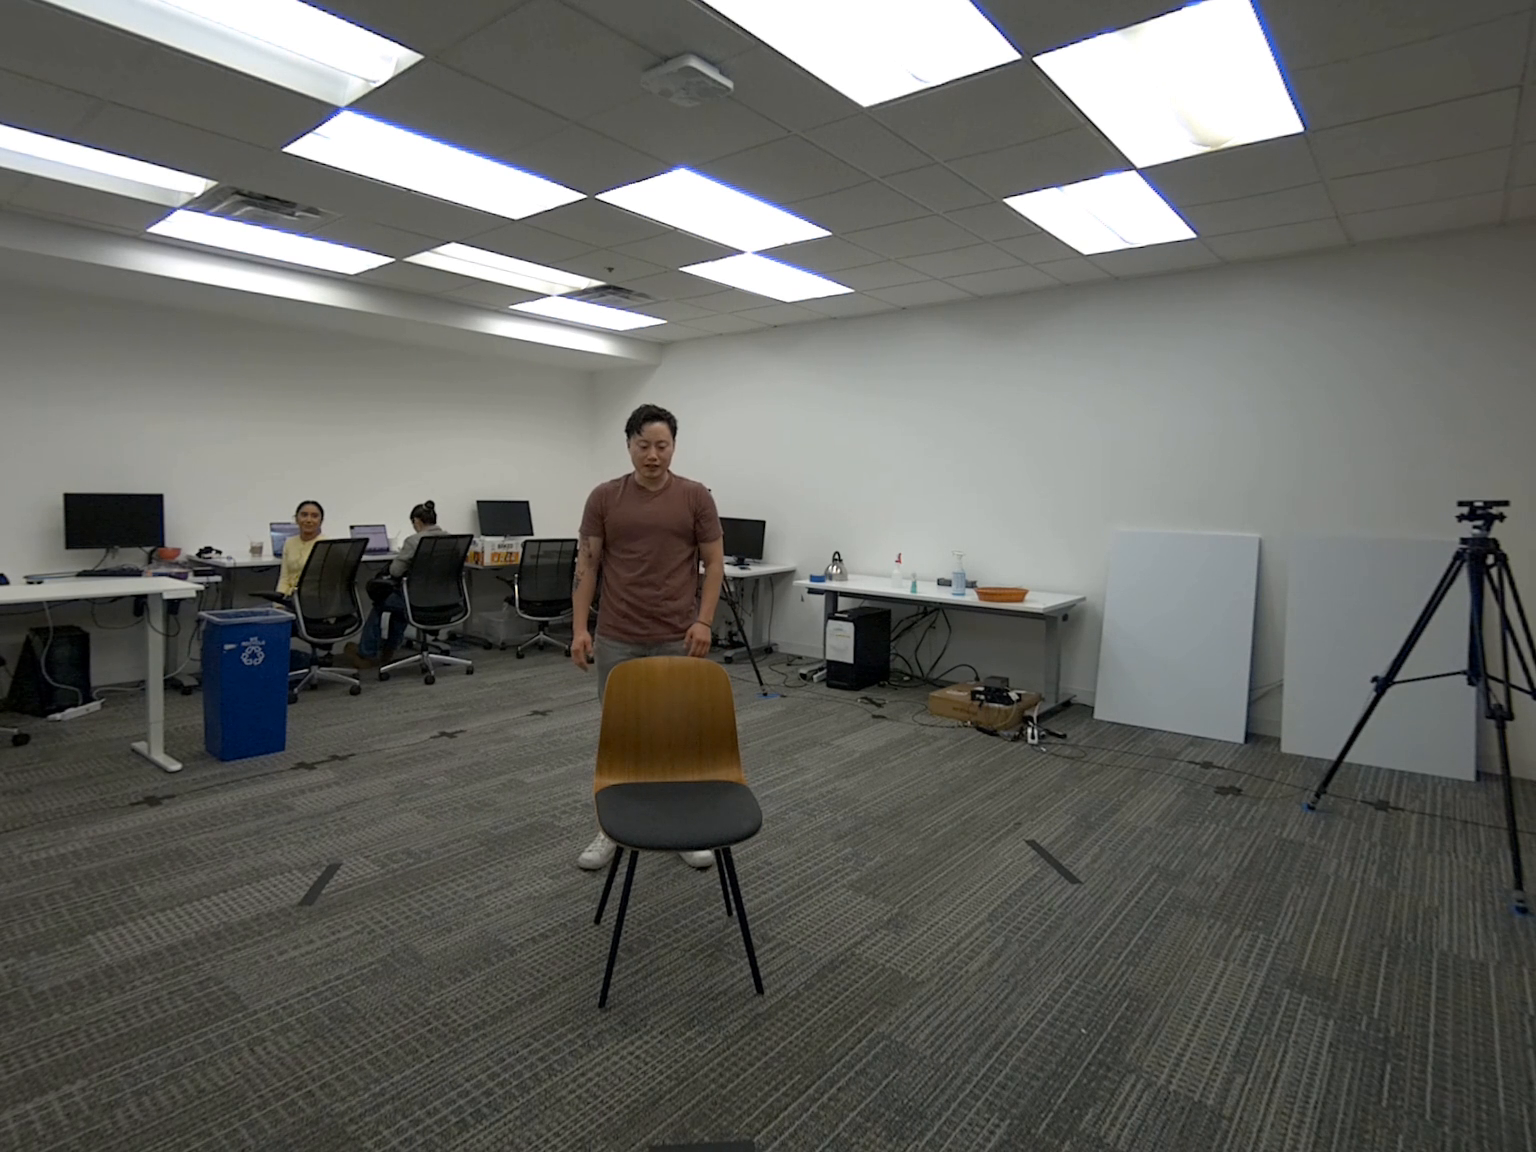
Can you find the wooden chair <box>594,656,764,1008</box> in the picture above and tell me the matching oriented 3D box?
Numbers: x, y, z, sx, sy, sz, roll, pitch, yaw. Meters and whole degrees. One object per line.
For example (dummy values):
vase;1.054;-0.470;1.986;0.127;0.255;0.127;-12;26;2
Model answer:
wooden chair;-0.274;0.704;2.494;0.472;0.879;0.529;1;-1;-12
